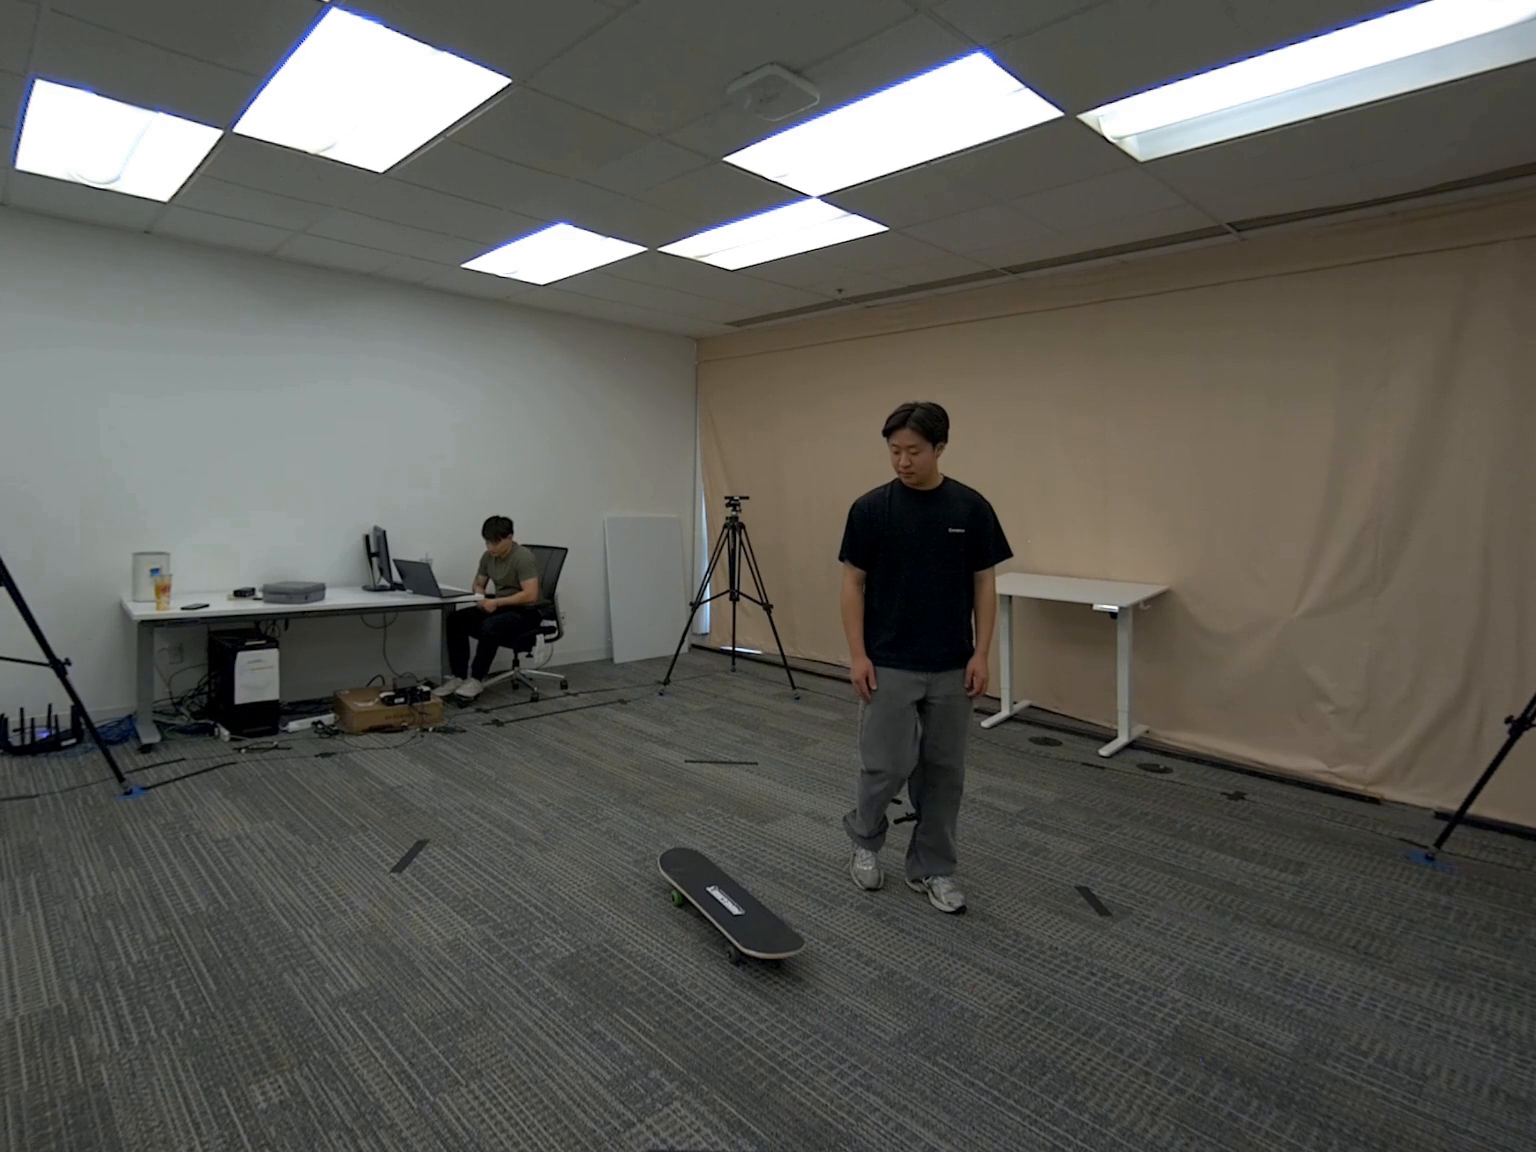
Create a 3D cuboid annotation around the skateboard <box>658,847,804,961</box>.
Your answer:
[{"bbox_3d":[-0.147,1.081,2.727,0.189,0.110,0.804,-2,6,-31],"label":"skateboard"}]
